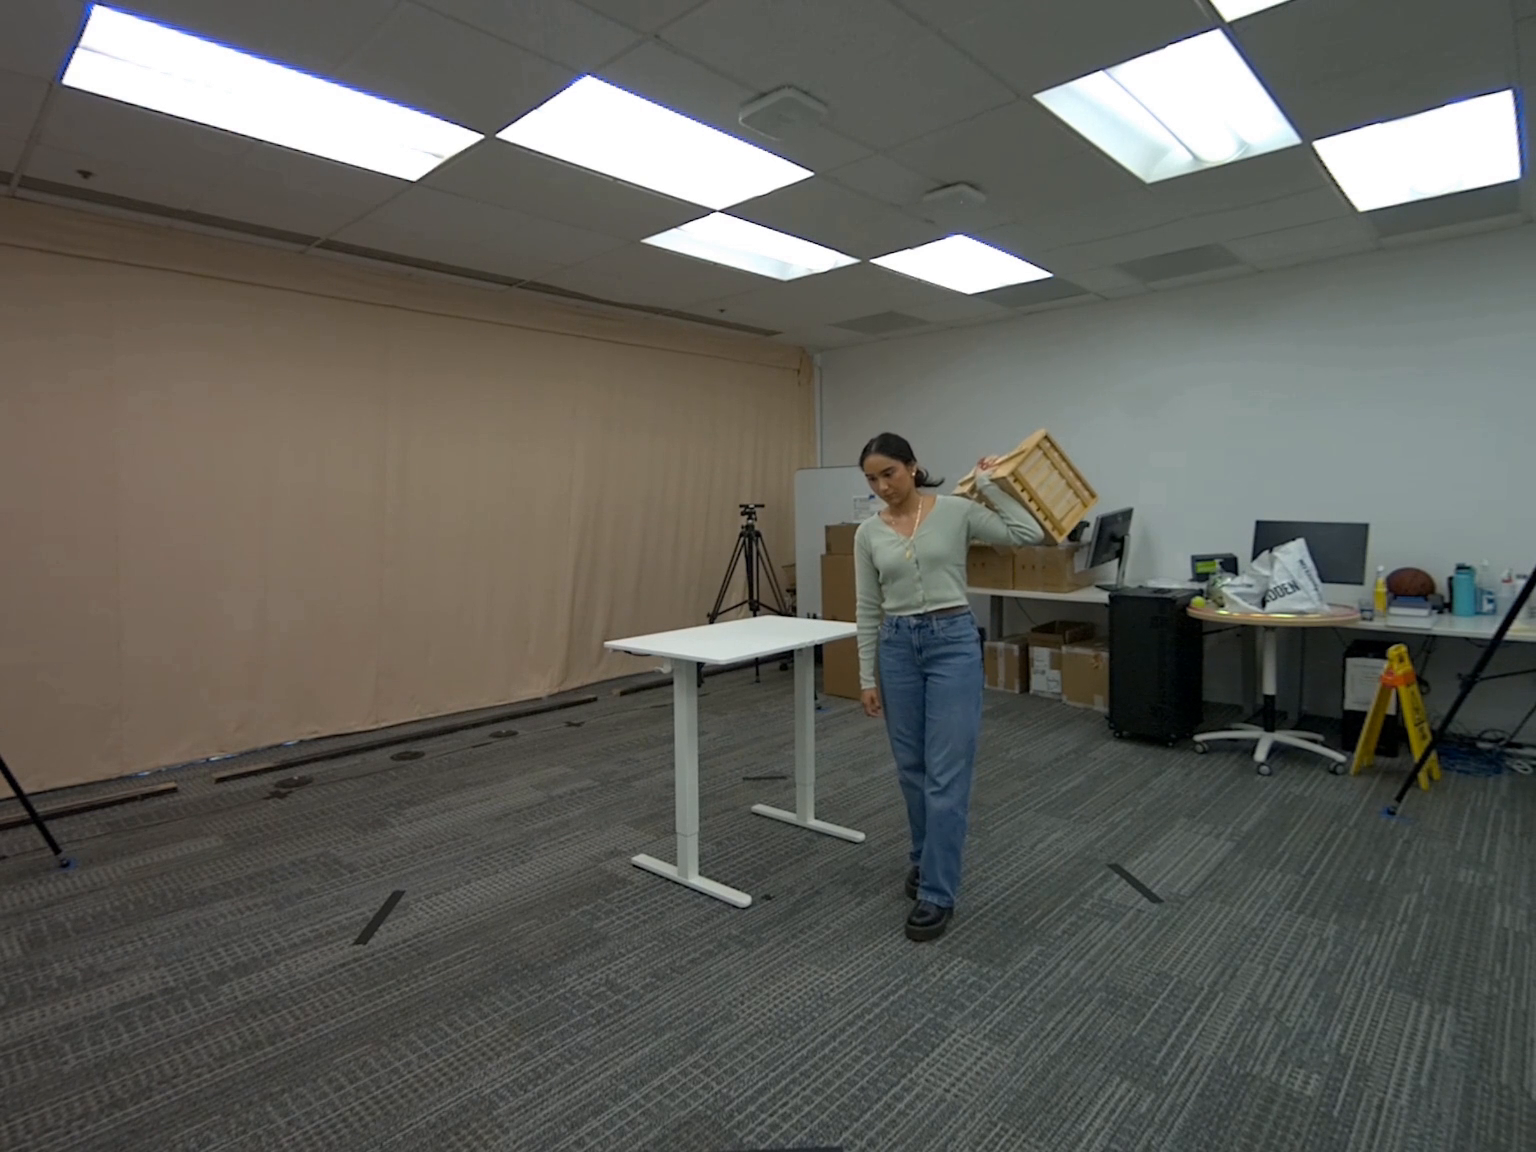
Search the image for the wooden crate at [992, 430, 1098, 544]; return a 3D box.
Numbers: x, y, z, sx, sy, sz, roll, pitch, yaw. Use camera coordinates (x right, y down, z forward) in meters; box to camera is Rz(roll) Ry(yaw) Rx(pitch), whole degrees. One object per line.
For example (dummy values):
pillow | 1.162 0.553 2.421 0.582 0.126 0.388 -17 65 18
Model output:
wooden crate | 0.892 -0.281 2.889 0.300 0.320 0.278 -45 11 -17
